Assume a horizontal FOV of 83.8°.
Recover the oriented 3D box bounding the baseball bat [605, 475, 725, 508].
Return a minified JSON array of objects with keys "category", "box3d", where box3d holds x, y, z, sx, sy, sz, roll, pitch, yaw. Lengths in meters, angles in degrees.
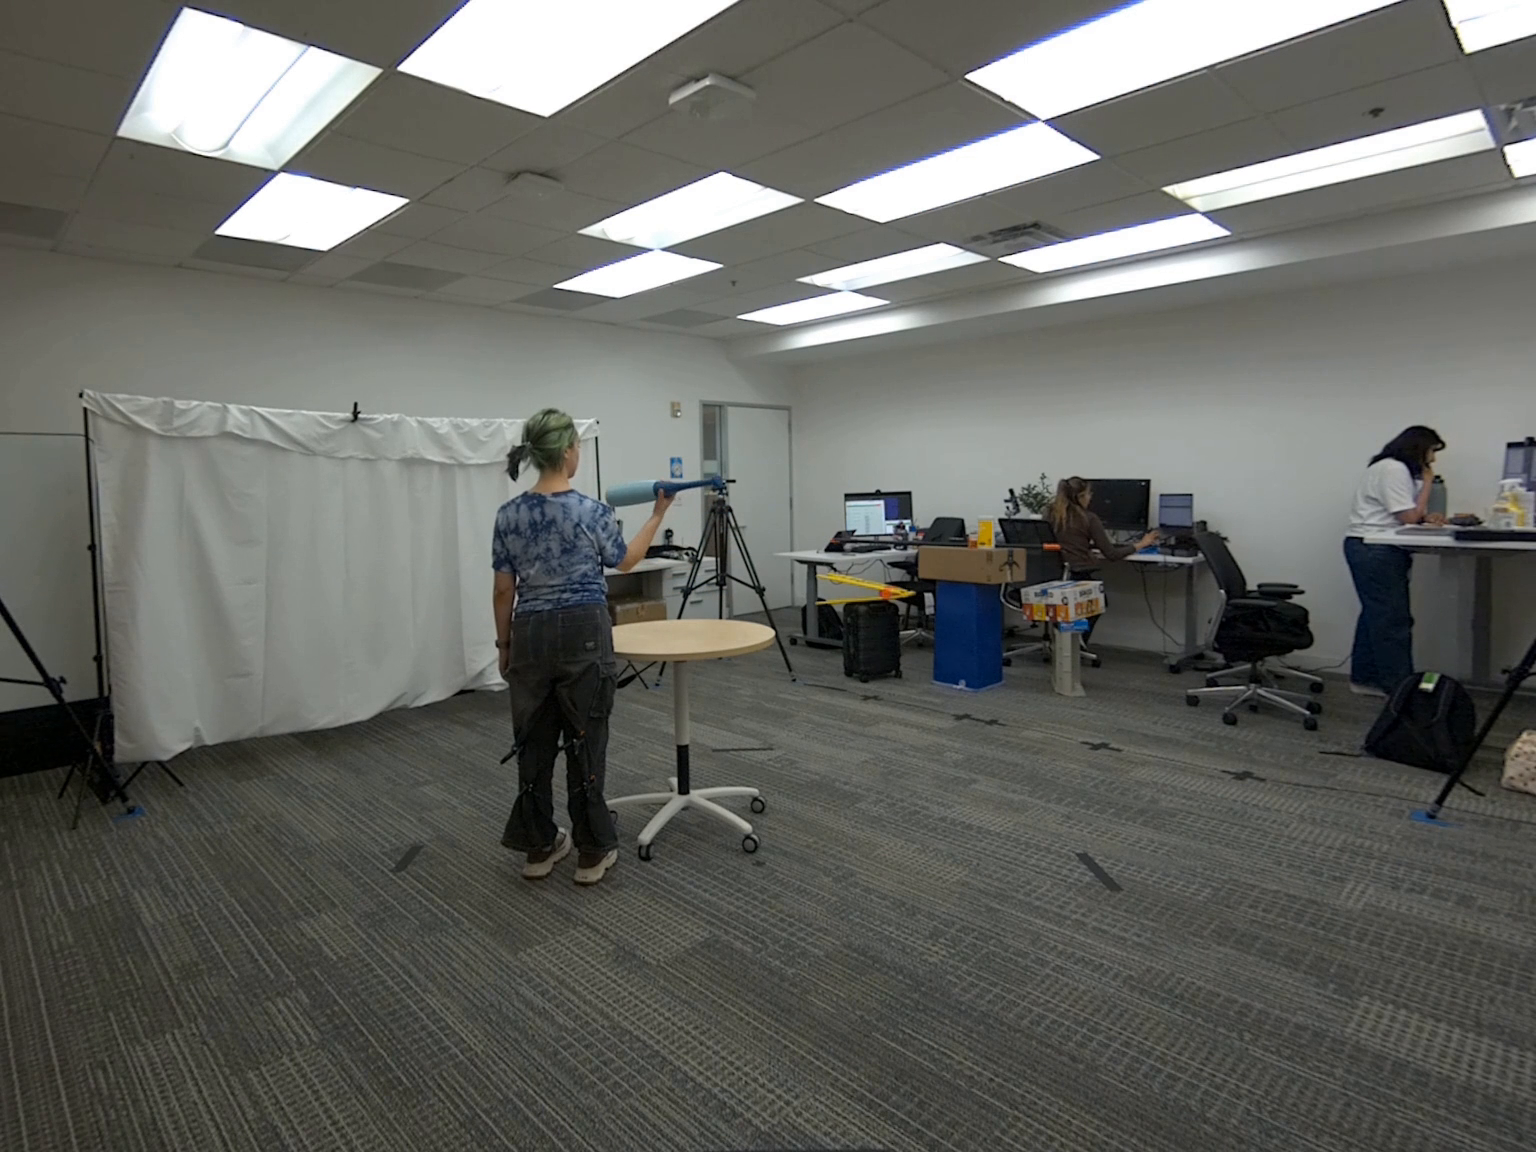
[{"category":"baseball bat","box3d":[-0.392,-0.320,3.202,0.557,0.089,0.087,-3,2,37]}]
